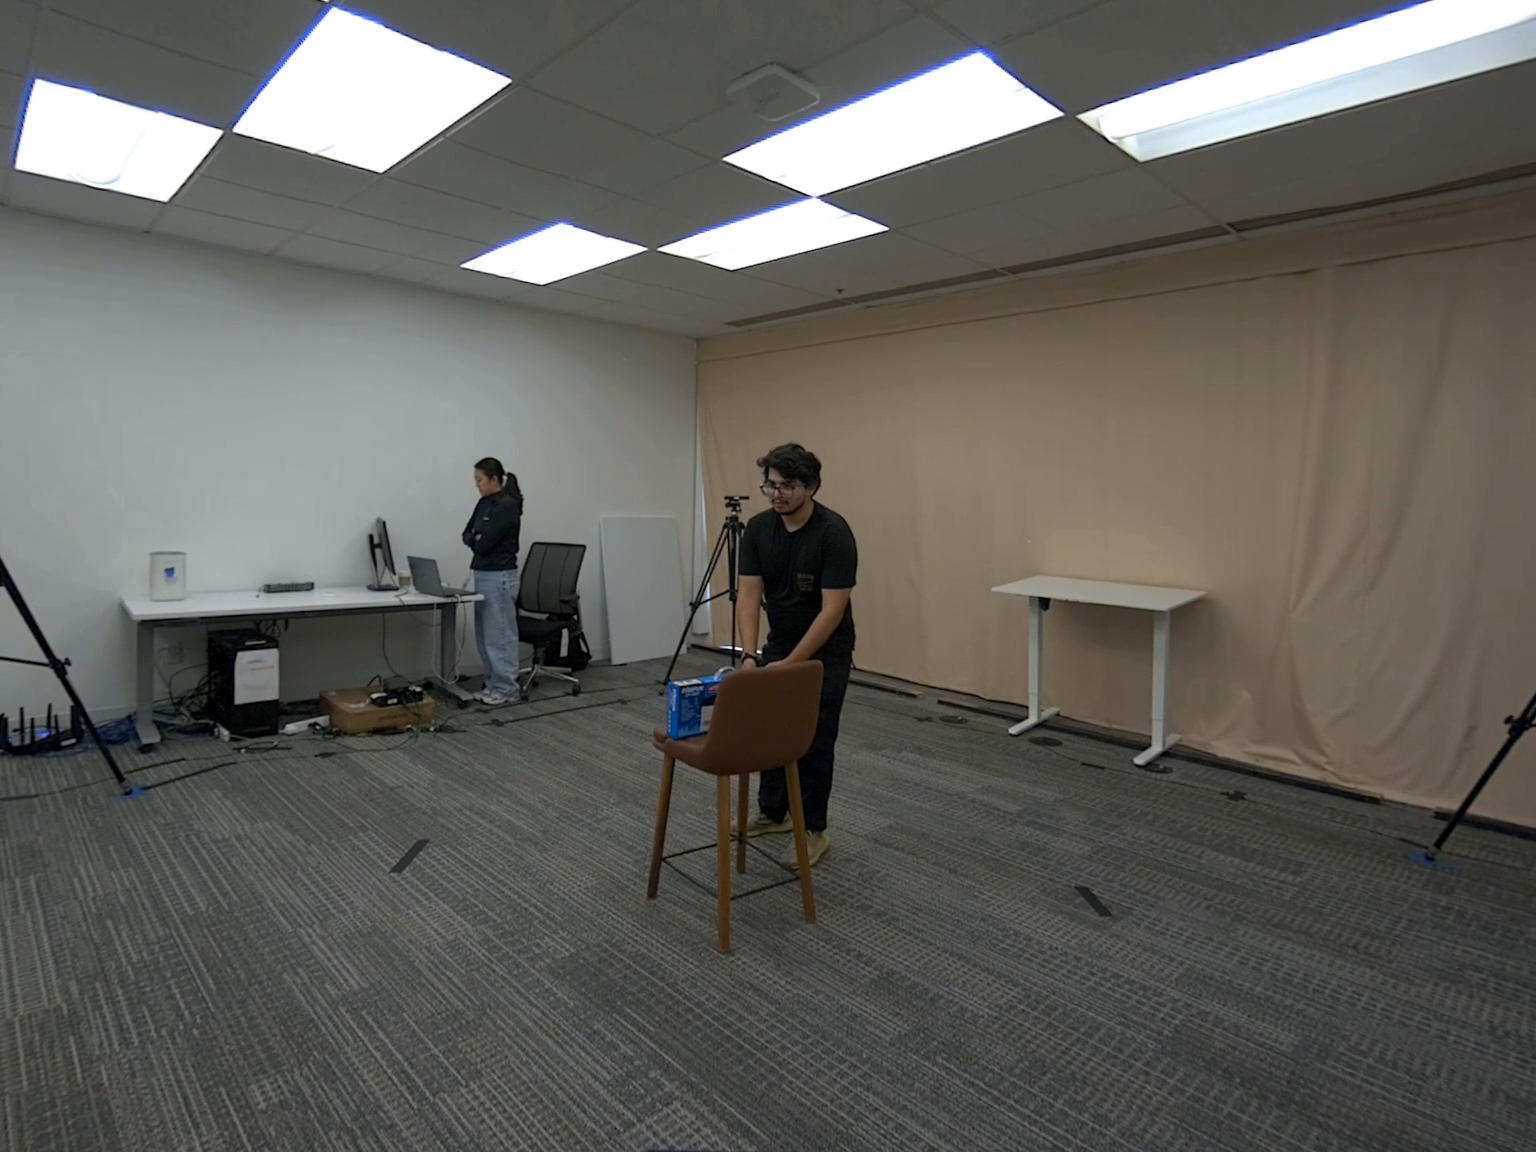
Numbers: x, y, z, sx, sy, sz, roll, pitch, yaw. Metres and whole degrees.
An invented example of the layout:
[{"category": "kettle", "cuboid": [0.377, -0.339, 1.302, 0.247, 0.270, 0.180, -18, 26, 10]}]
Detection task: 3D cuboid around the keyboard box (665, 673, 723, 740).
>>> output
[{"category": "keyboard box", "cuboid": [-0.147, 0.427, 2.835, 0.427, 0.175, 0.060, -2, 5, -43]}]
